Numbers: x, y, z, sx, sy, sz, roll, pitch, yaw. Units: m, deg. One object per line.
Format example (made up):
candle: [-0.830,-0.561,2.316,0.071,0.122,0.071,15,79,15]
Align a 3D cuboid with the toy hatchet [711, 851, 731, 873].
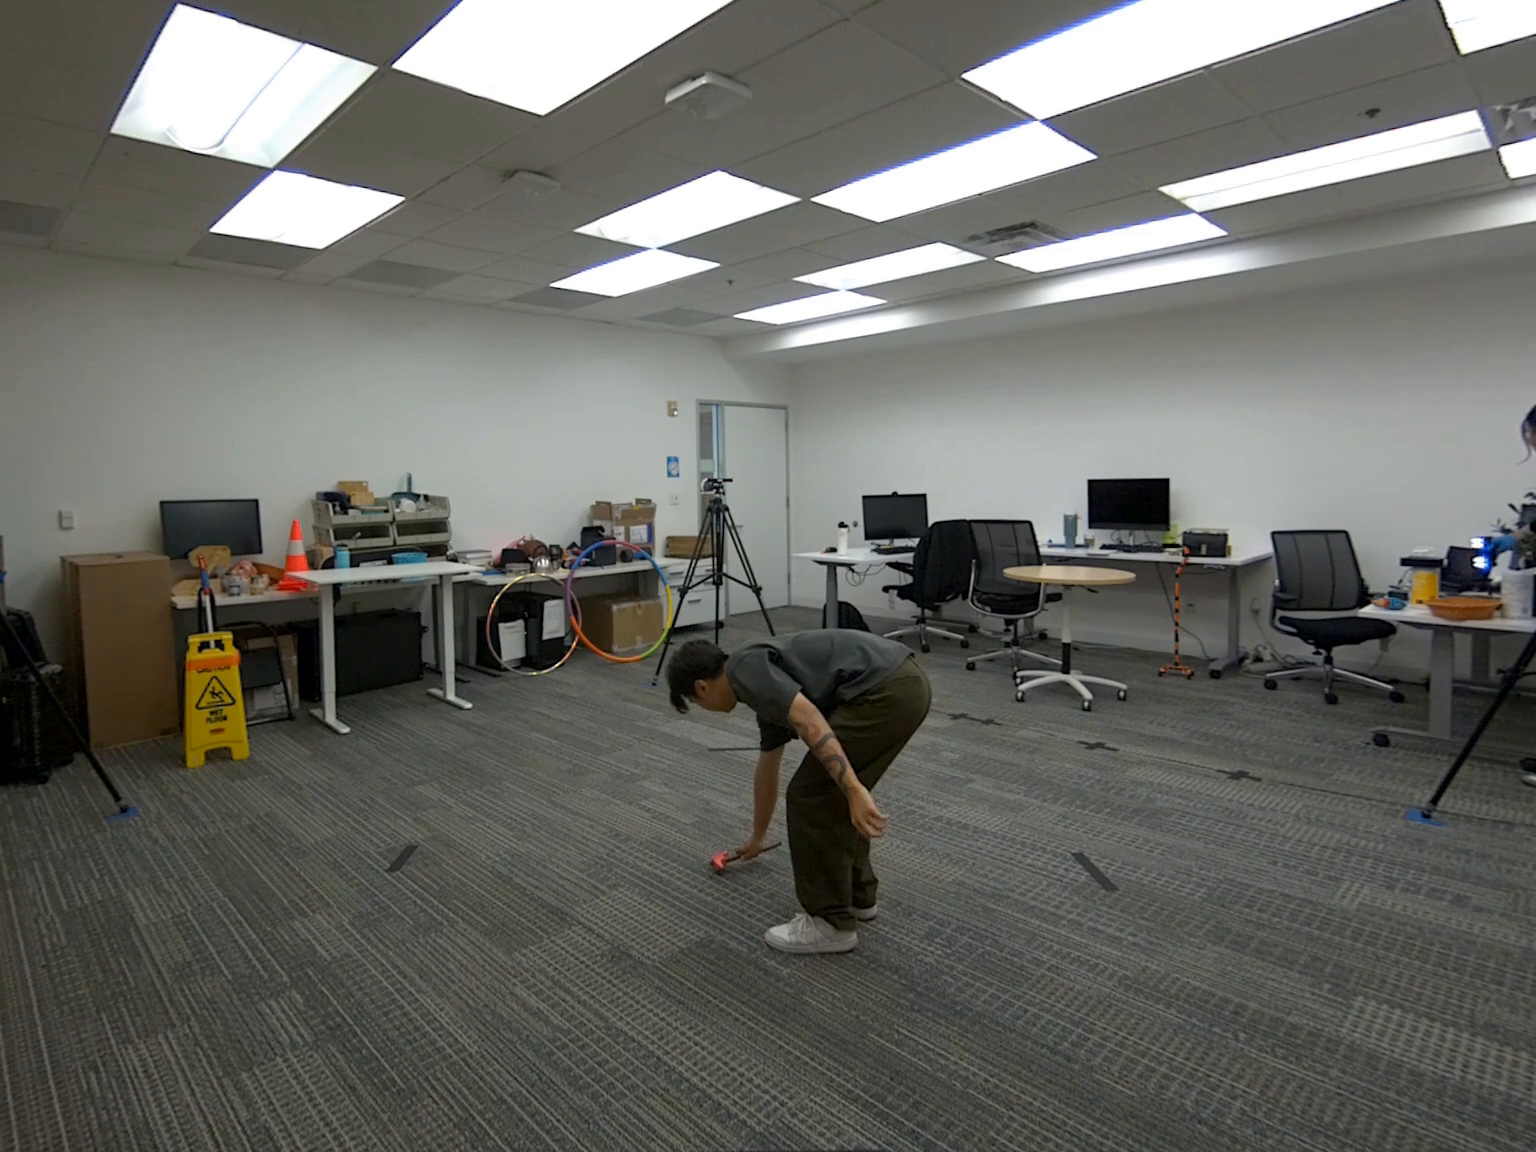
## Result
toy hatchet: [-0.089,0.984,3.081,0.264,0.030,0.133,-8,-3,-30]
